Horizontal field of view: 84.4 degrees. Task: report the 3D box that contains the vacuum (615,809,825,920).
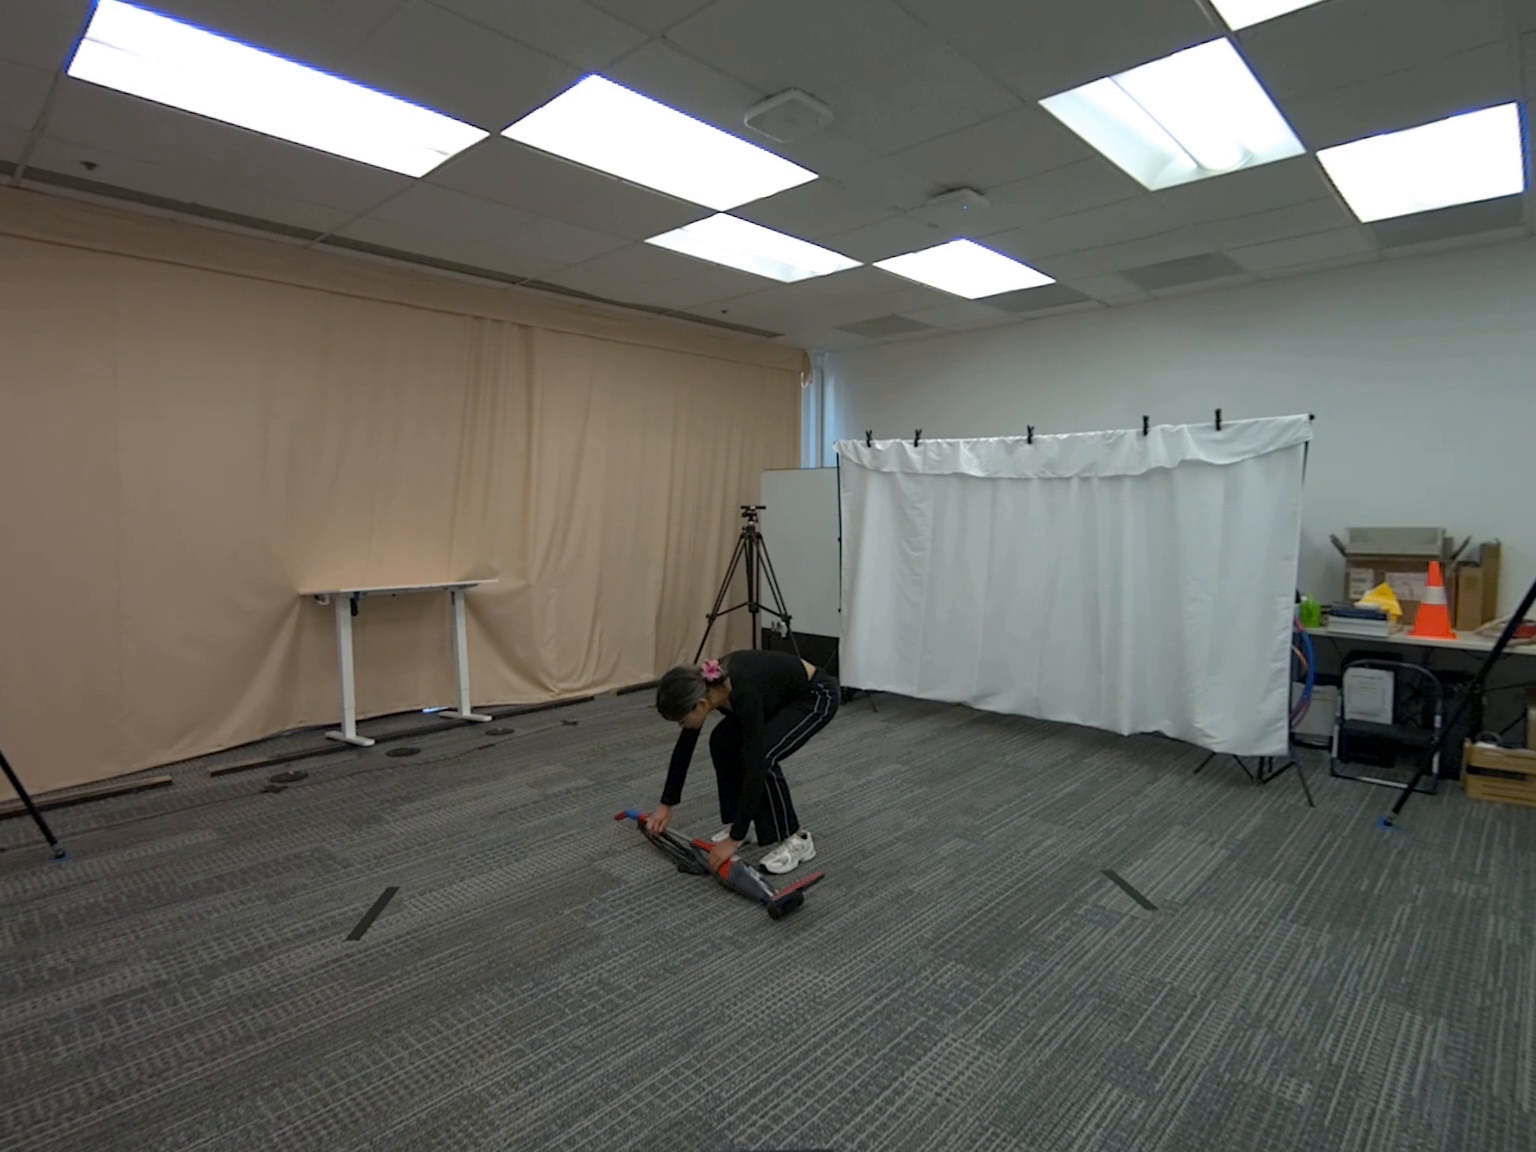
[{"bbox_3d":[-0.284,1.064,3.230,0.245,0.143,1.084,-8,7,-43],"label":"vacuum"}]
